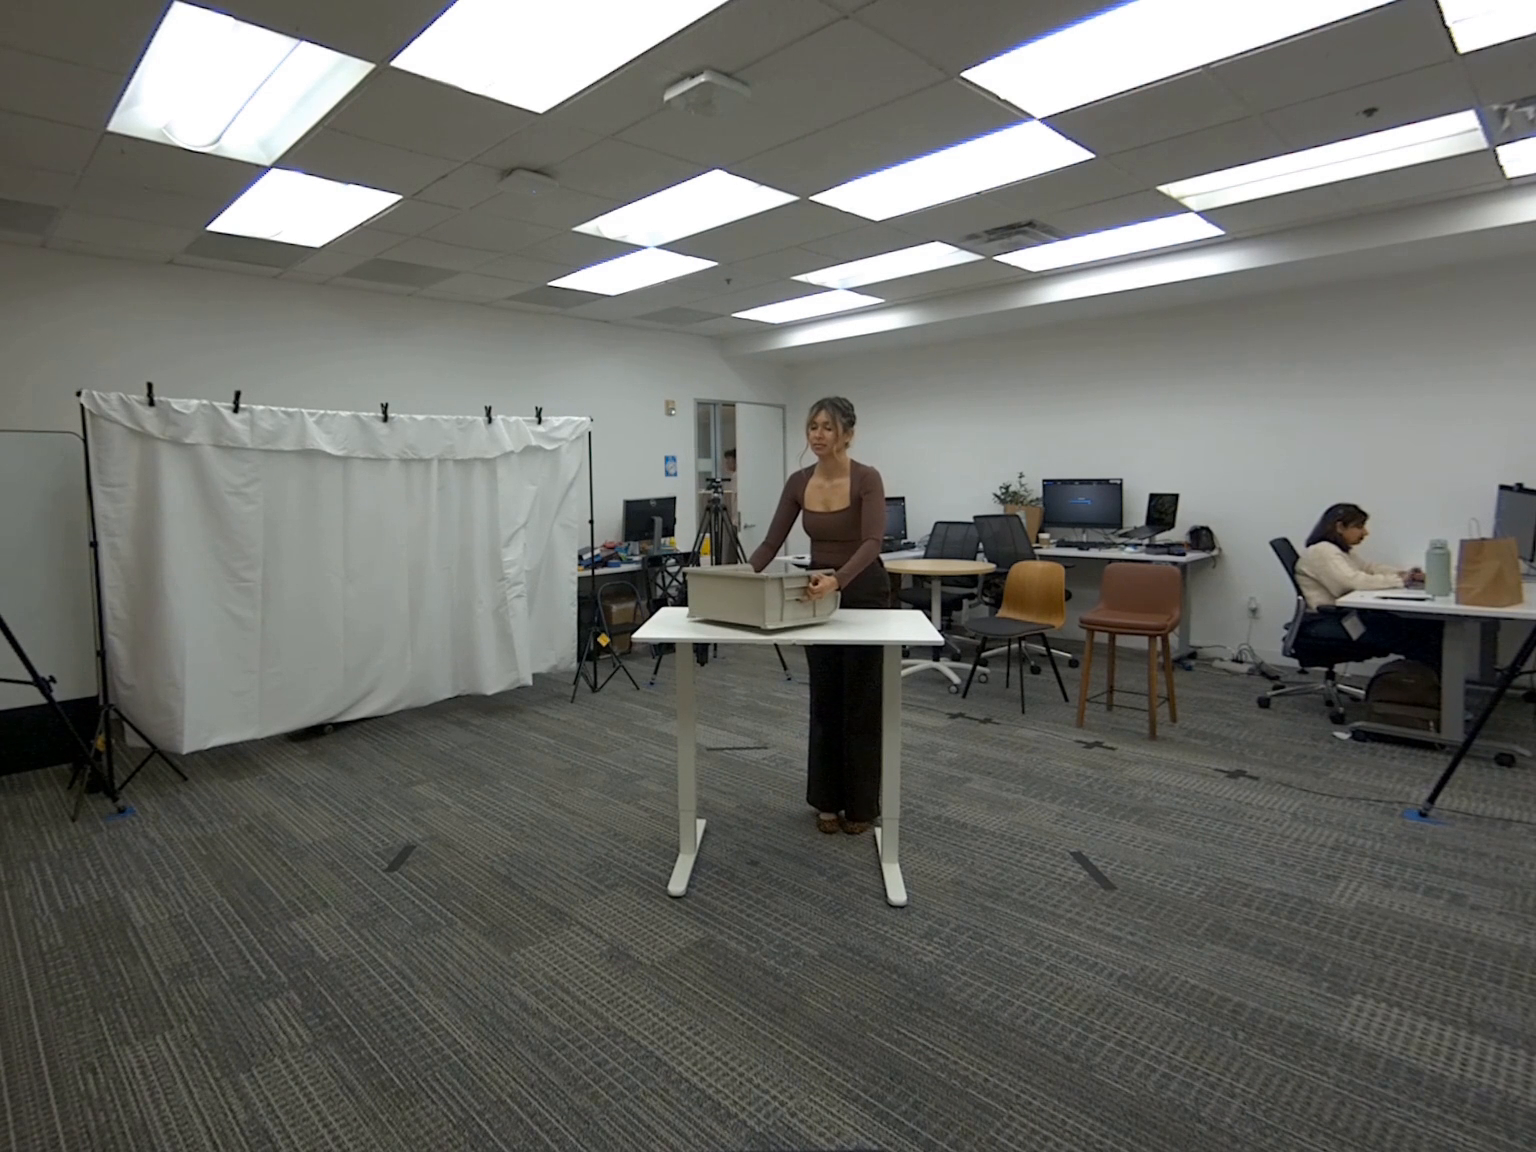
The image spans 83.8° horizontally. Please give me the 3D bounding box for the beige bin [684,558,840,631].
[{"bbox_3d":[-0.020,0.067,3.028,0.367,0.188,0.435,-6,8,-44],"label":"beige bin"}]
